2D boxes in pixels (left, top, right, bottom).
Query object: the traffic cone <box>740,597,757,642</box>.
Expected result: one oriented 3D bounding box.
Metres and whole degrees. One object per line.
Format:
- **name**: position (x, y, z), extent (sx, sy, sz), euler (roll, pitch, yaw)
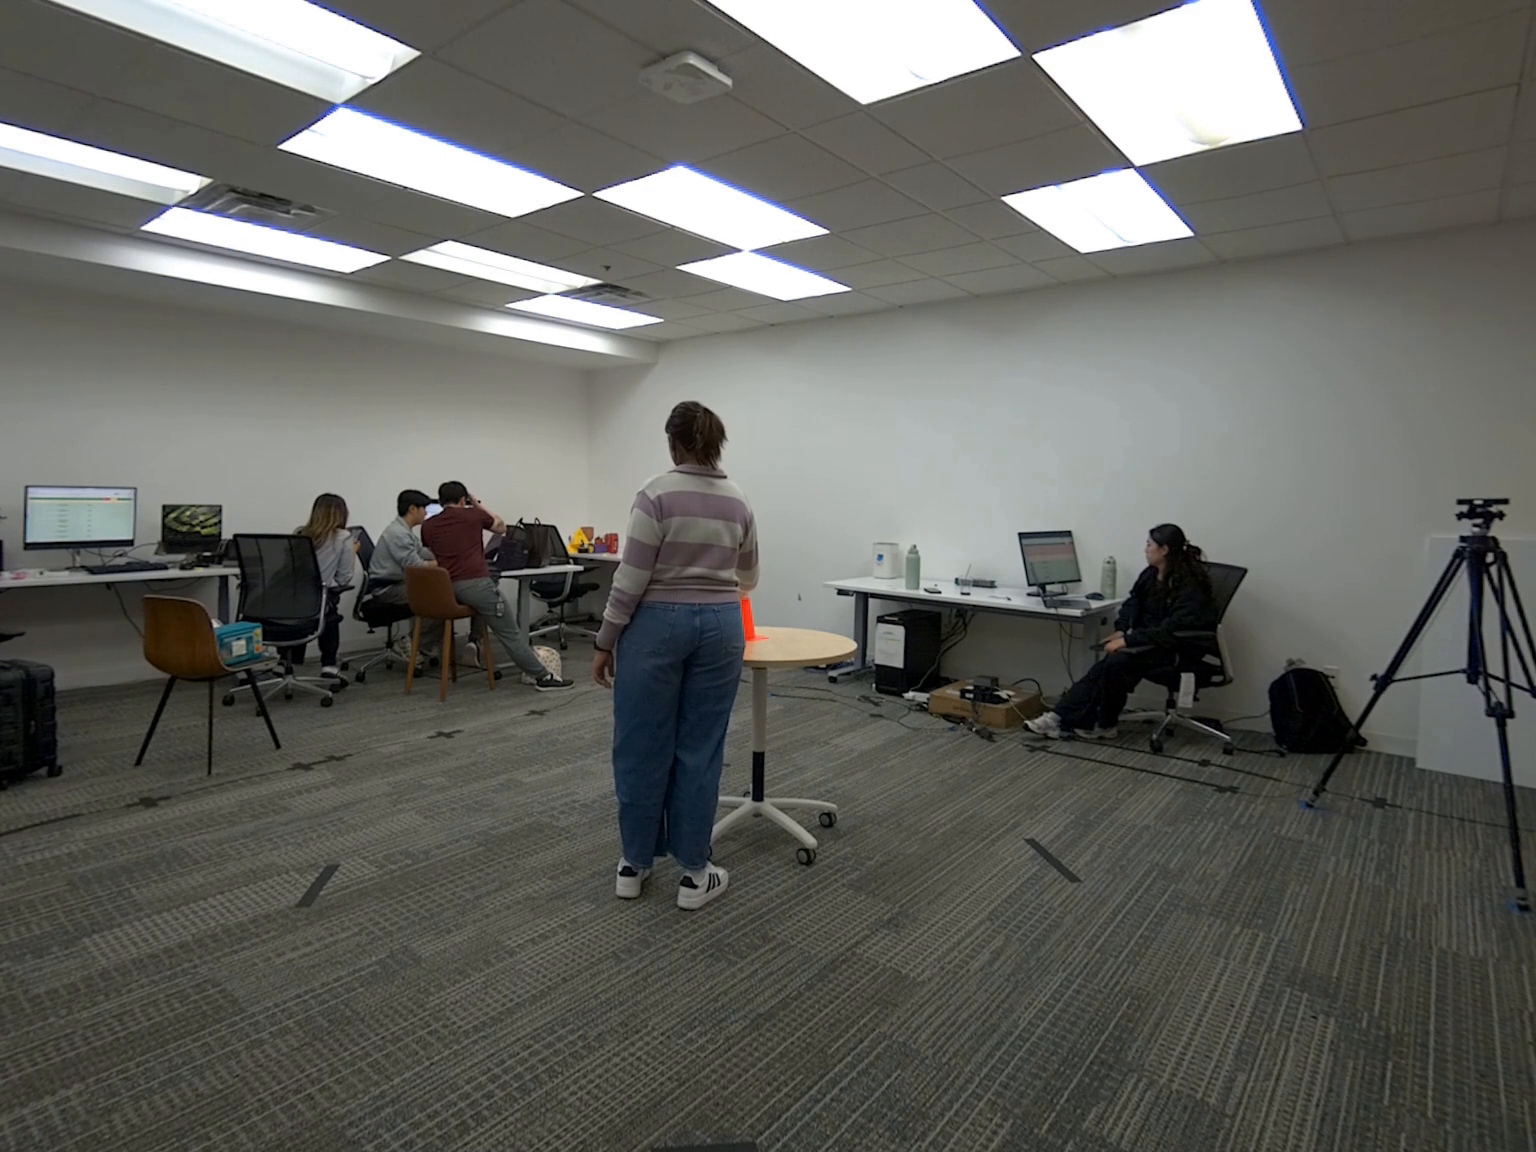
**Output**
- **traffic cone**: position (-0.133, 0.063, 3.482), extent (0.212, 0.382, 0.197), euler (6, 7, 41)
